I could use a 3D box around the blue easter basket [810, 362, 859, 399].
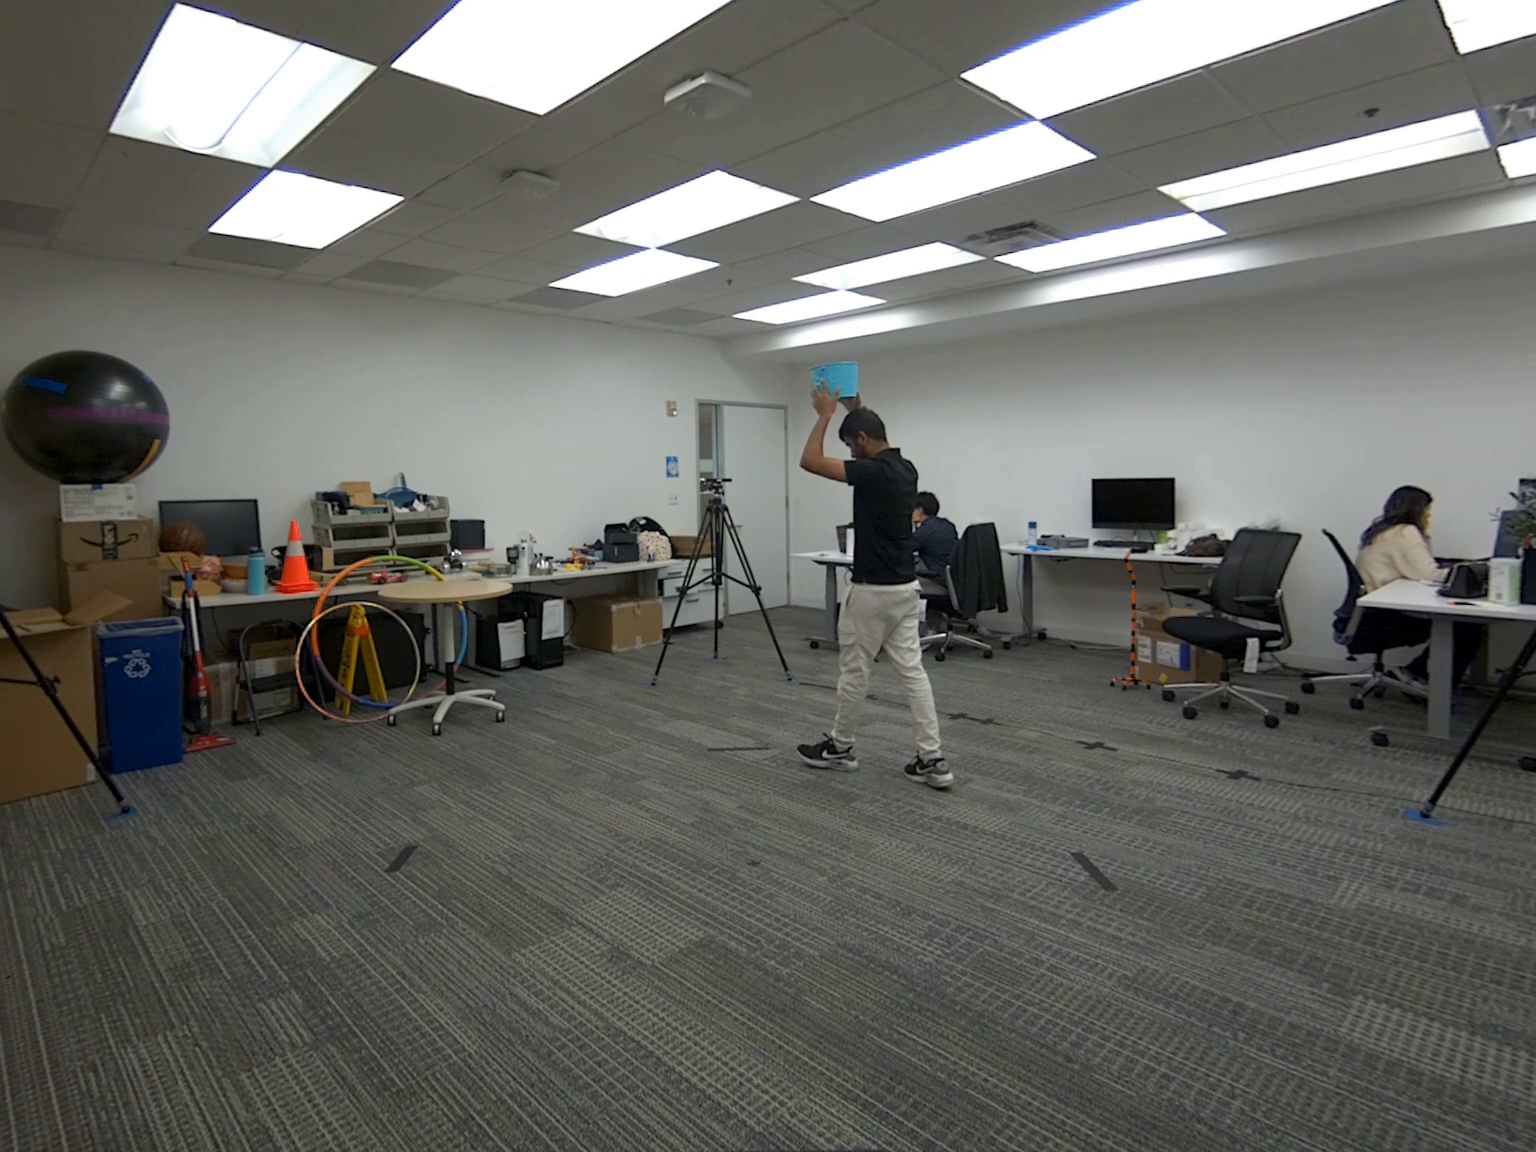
[{"bbox_3d":[0.325,-0.914,4.036,0.243,0.156,0.244,-4,1,-2],"label":"blue easter basket"}]
